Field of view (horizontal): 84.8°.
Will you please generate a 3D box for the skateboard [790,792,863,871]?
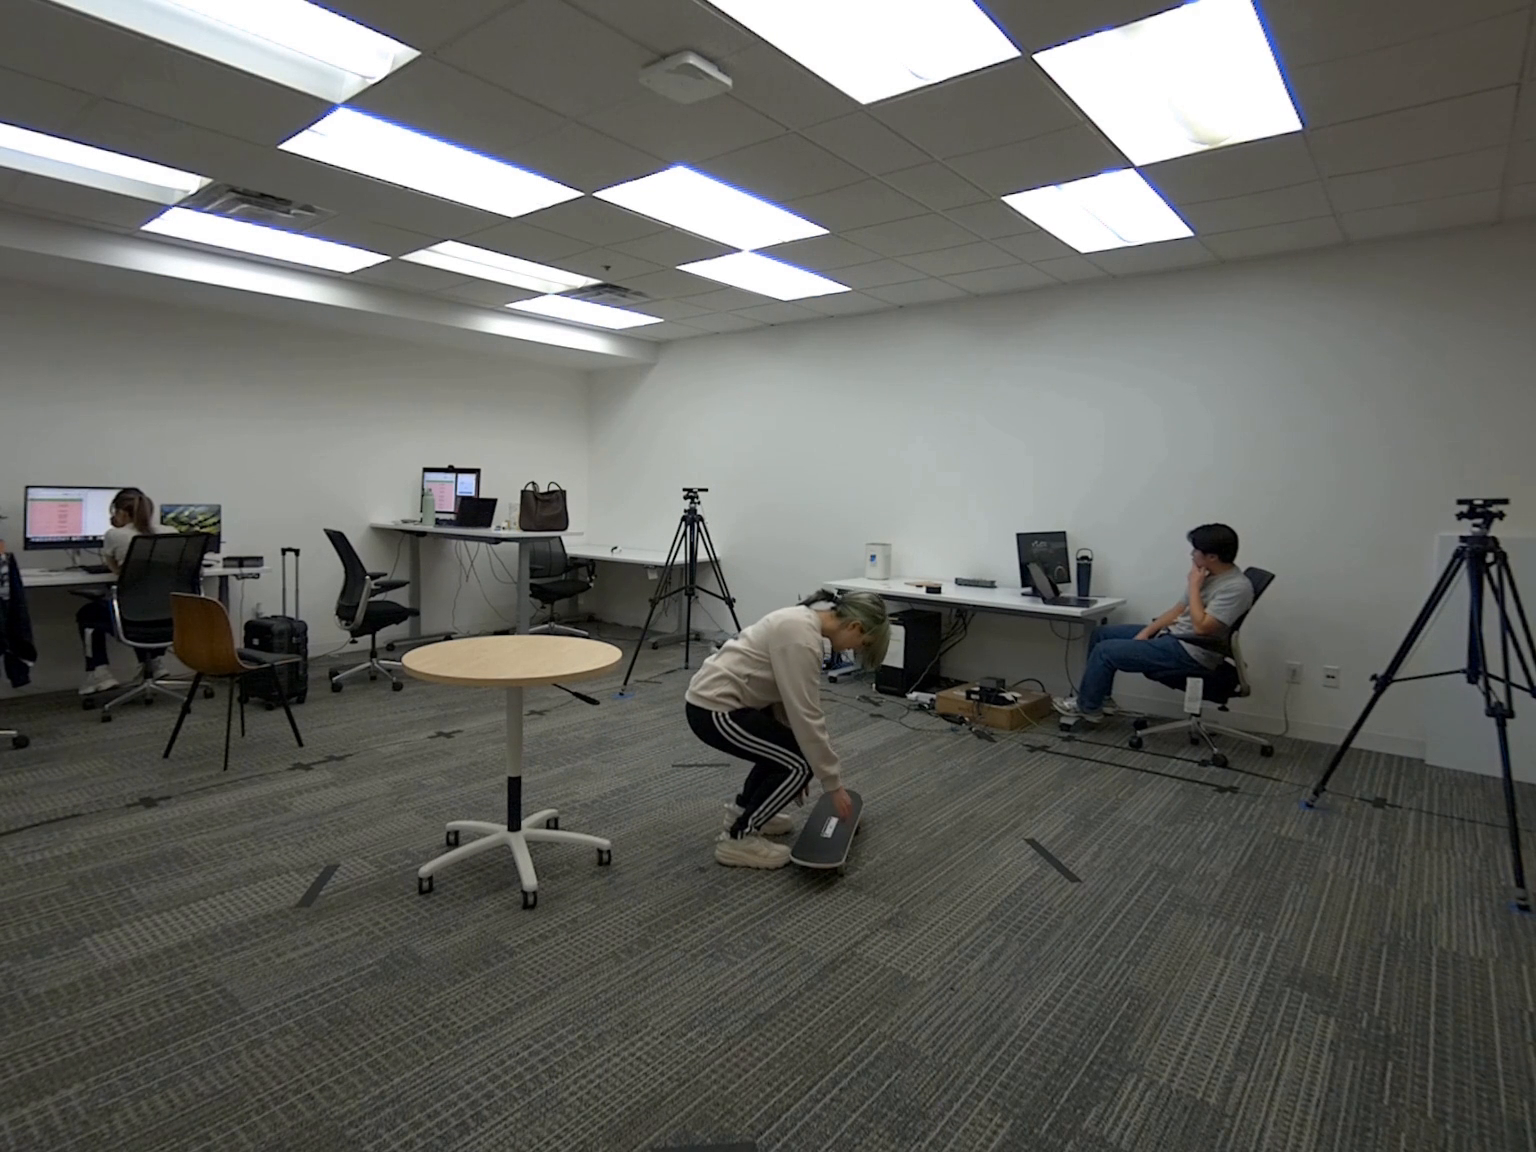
[{"bbox_3d":[0.229,0.996,3.308,0.197,0.110,0.775,2,6,14],"label":"skateboard"}]
